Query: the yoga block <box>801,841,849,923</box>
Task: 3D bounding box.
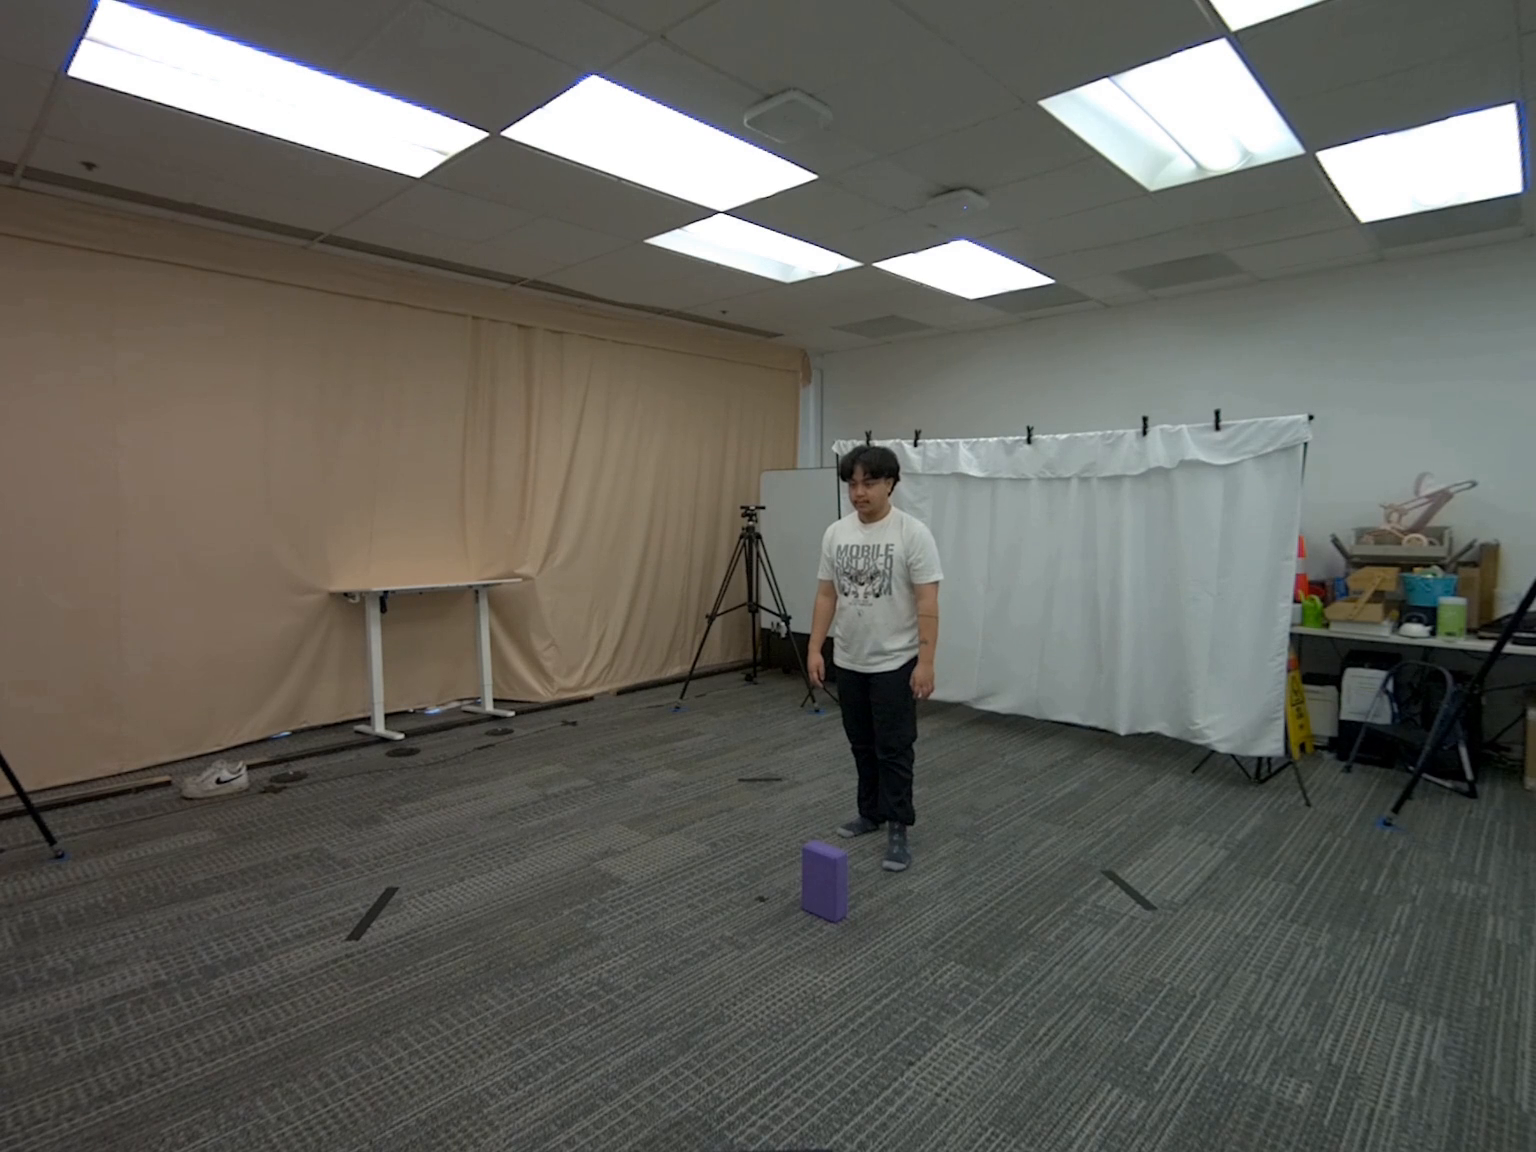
[{"bbox_3d":[0.199,1.037,2.866,0.154,0.229,0.074,5,6,44],"label":"yoga block"}]
